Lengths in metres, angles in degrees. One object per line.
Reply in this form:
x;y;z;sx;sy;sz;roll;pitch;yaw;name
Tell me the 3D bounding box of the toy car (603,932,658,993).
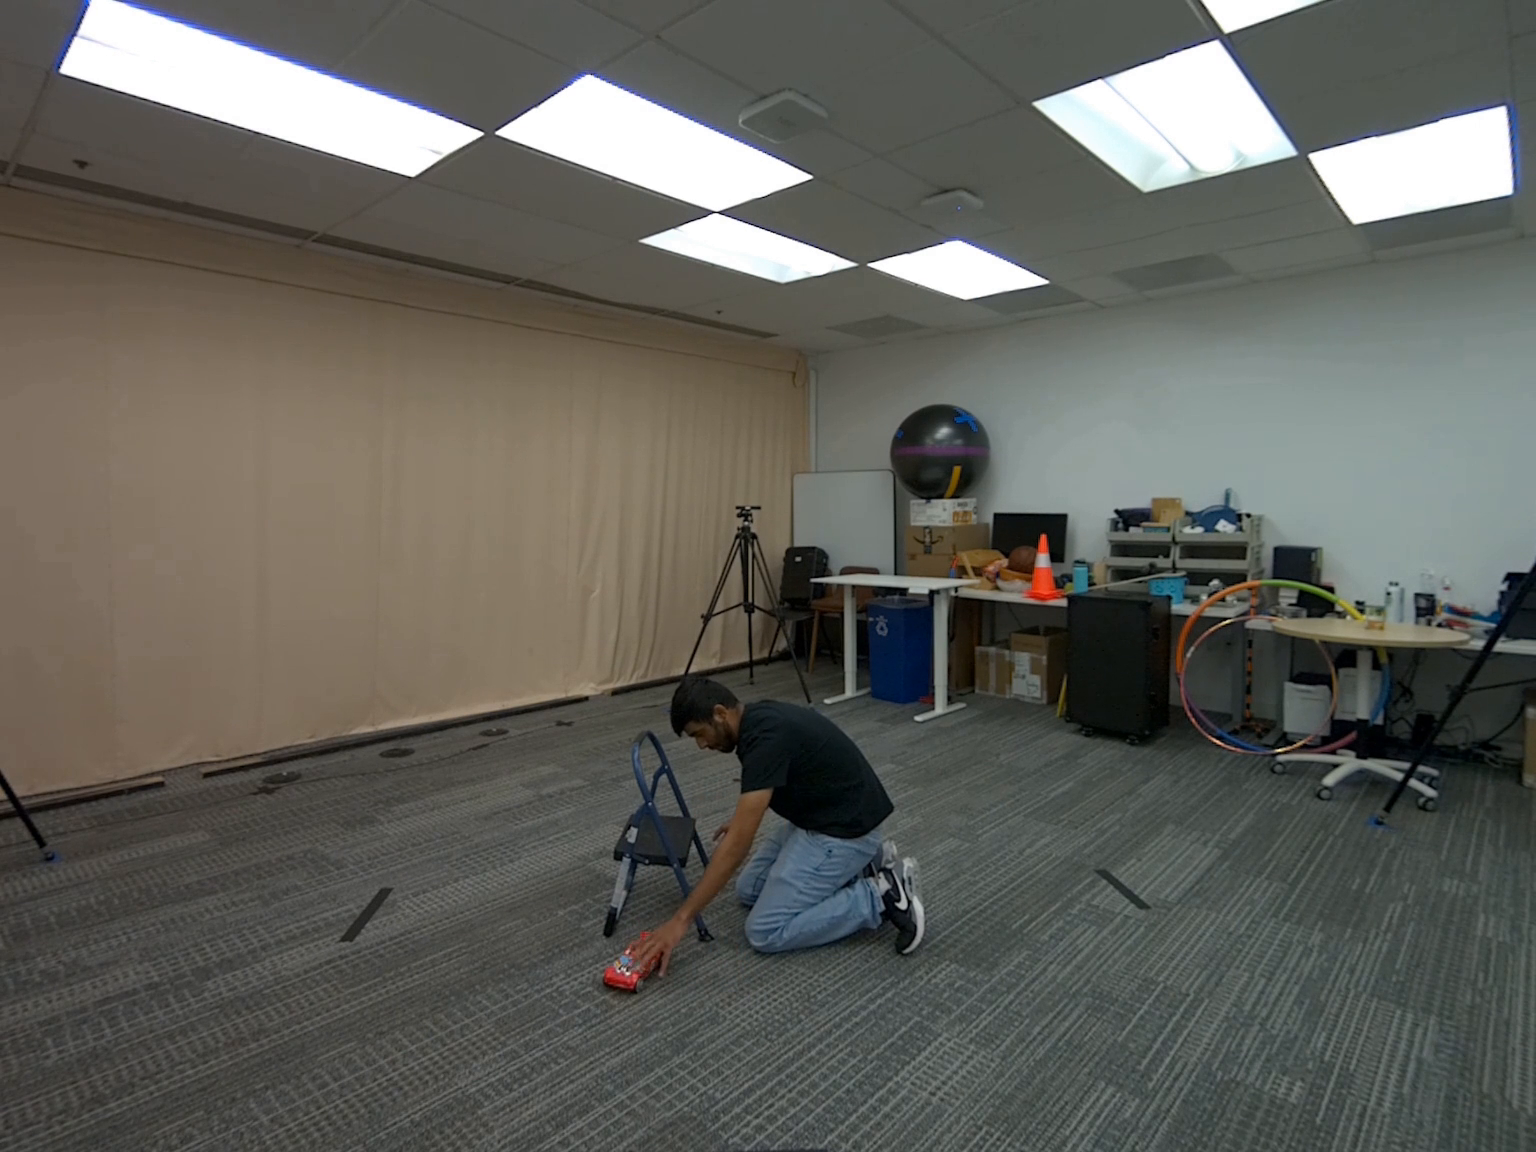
-0.387;1.149;2.514;0.133;0.082;0.251;0;16;22;toy car
